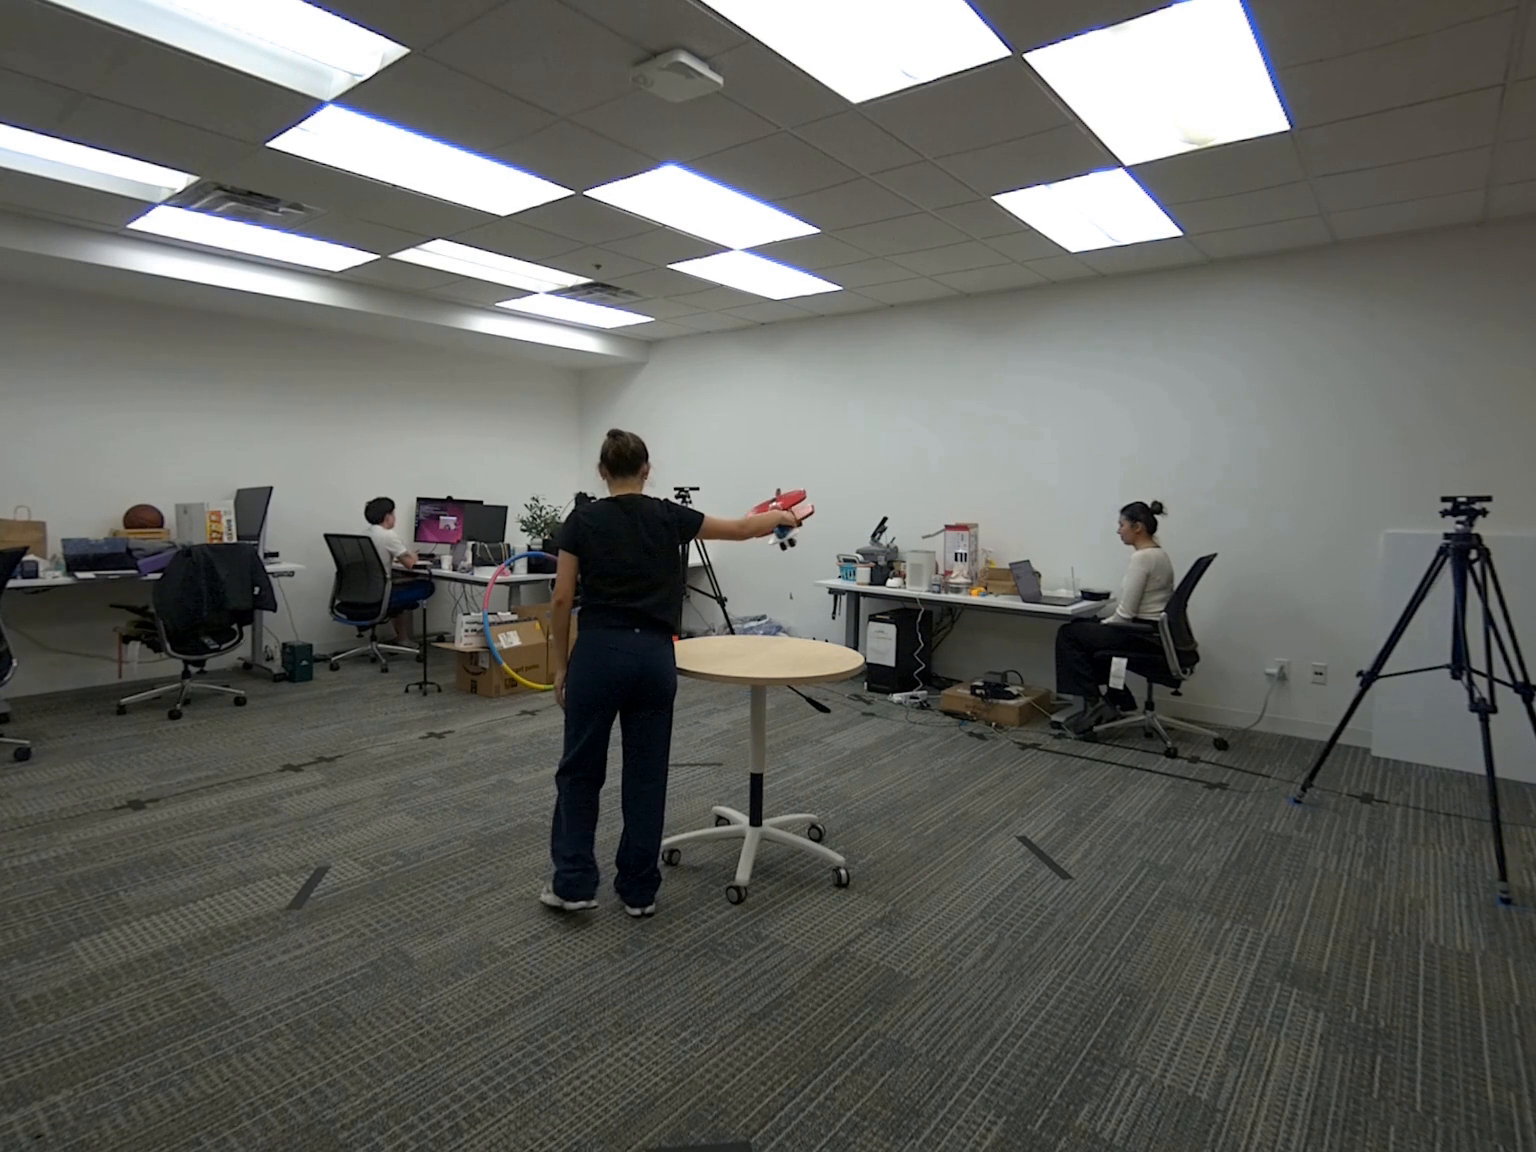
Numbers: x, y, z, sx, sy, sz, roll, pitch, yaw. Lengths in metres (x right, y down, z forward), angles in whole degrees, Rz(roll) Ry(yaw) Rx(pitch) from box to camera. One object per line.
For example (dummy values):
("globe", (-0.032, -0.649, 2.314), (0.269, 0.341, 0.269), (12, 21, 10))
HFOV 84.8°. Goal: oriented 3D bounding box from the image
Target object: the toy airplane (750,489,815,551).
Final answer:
("toy airplane", (0.080, -0.218, 3.257), (0.250, 0.152, 0.267), (-33, 21, -13))
